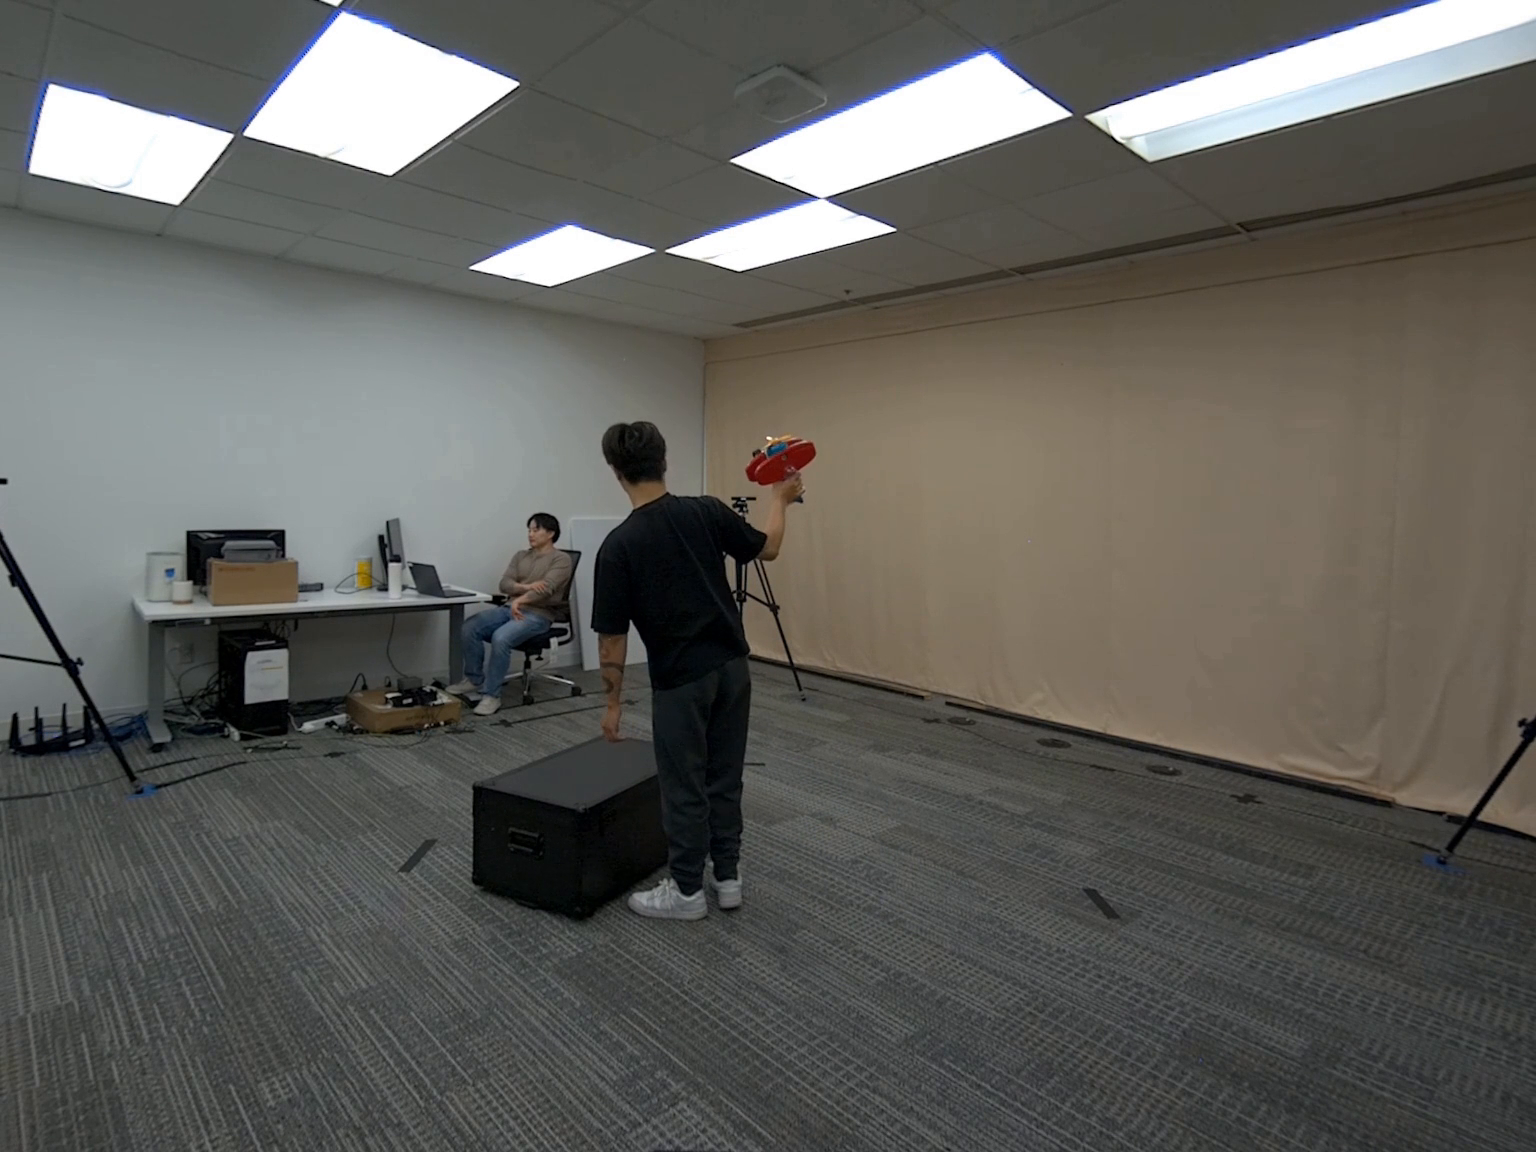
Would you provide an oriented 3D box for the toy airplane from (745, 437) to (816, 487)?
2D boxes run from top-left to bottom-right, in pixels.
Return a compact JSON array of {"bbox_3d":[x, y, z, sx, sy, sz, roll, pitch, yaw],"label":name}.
[{"bbox_3d":[0.061,-0.395,3.105,0.254,0.251,0.159,35,-8,-18],"label":"toy airplane"}]
